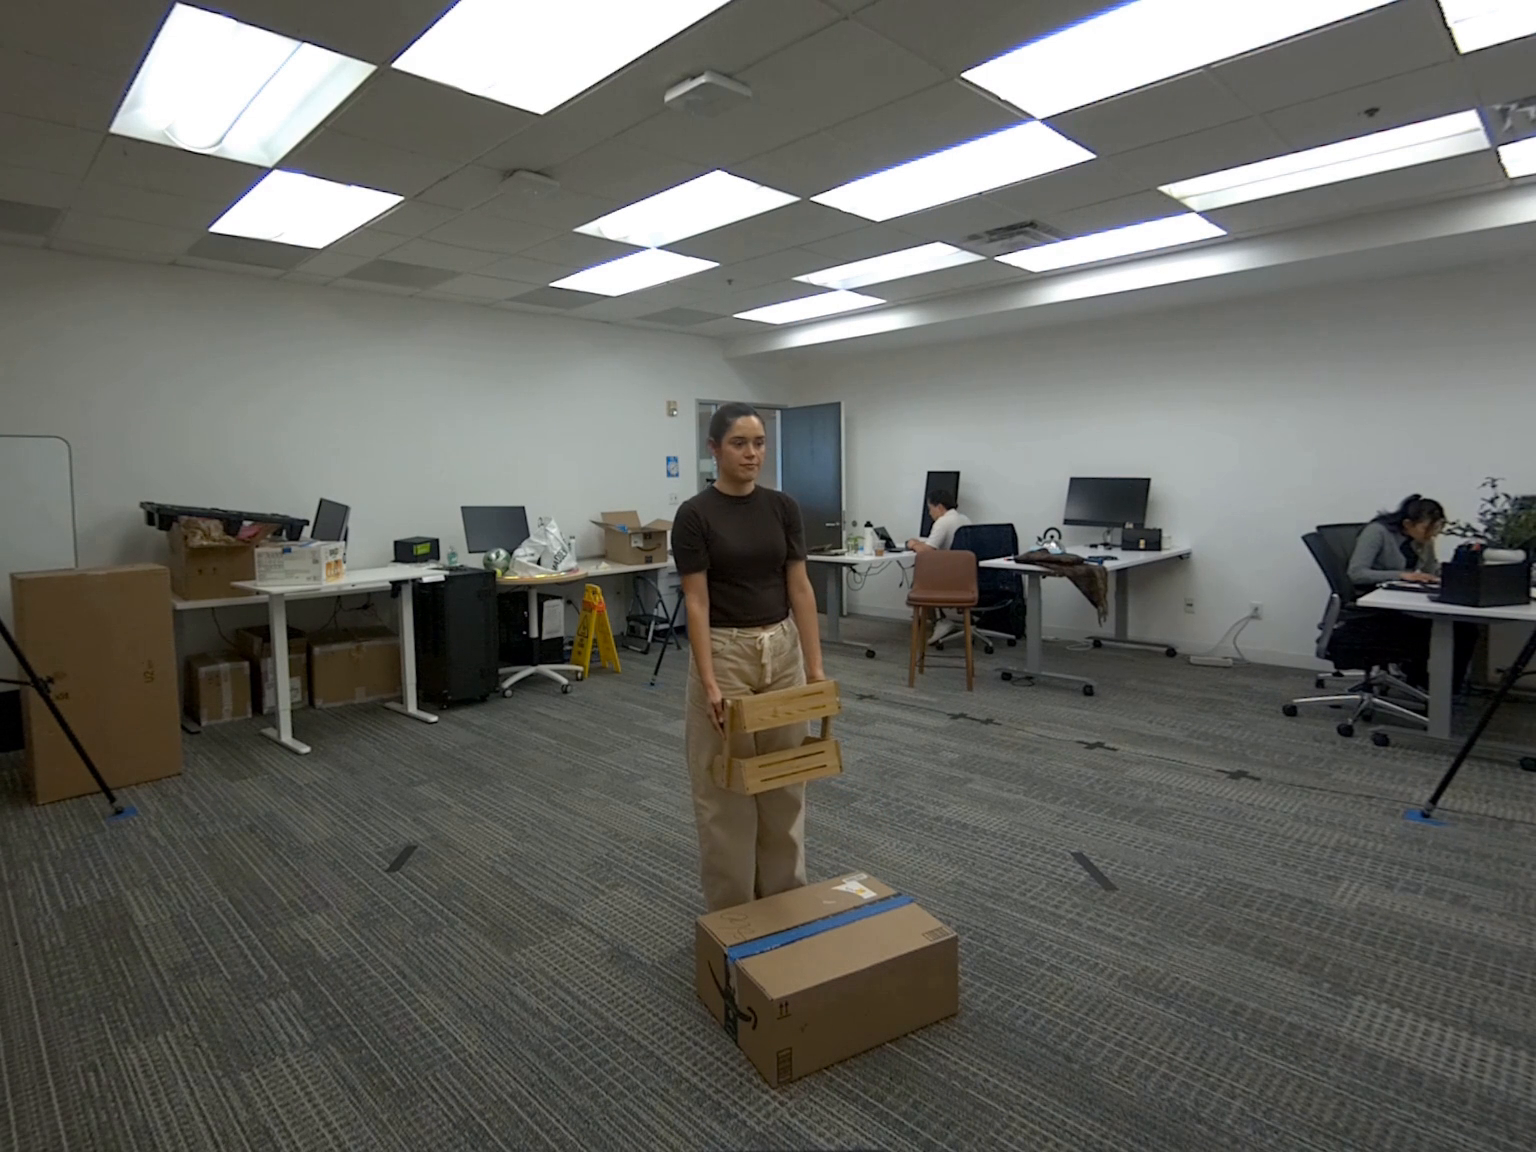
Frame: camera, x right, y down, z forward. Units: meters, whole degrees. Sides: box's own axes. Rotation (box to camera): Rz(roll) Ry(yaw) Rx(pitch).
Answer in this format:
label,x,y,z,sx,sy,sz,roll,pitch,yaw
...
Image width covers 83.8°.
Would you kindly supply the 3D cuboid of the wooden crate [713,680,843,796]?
label,x,y,z,sx,sy,sz,roll,pitch,yaw
wooden crate,0.022,0.451,2.434,0.319,0.275,0.305,-7,-6,-20
